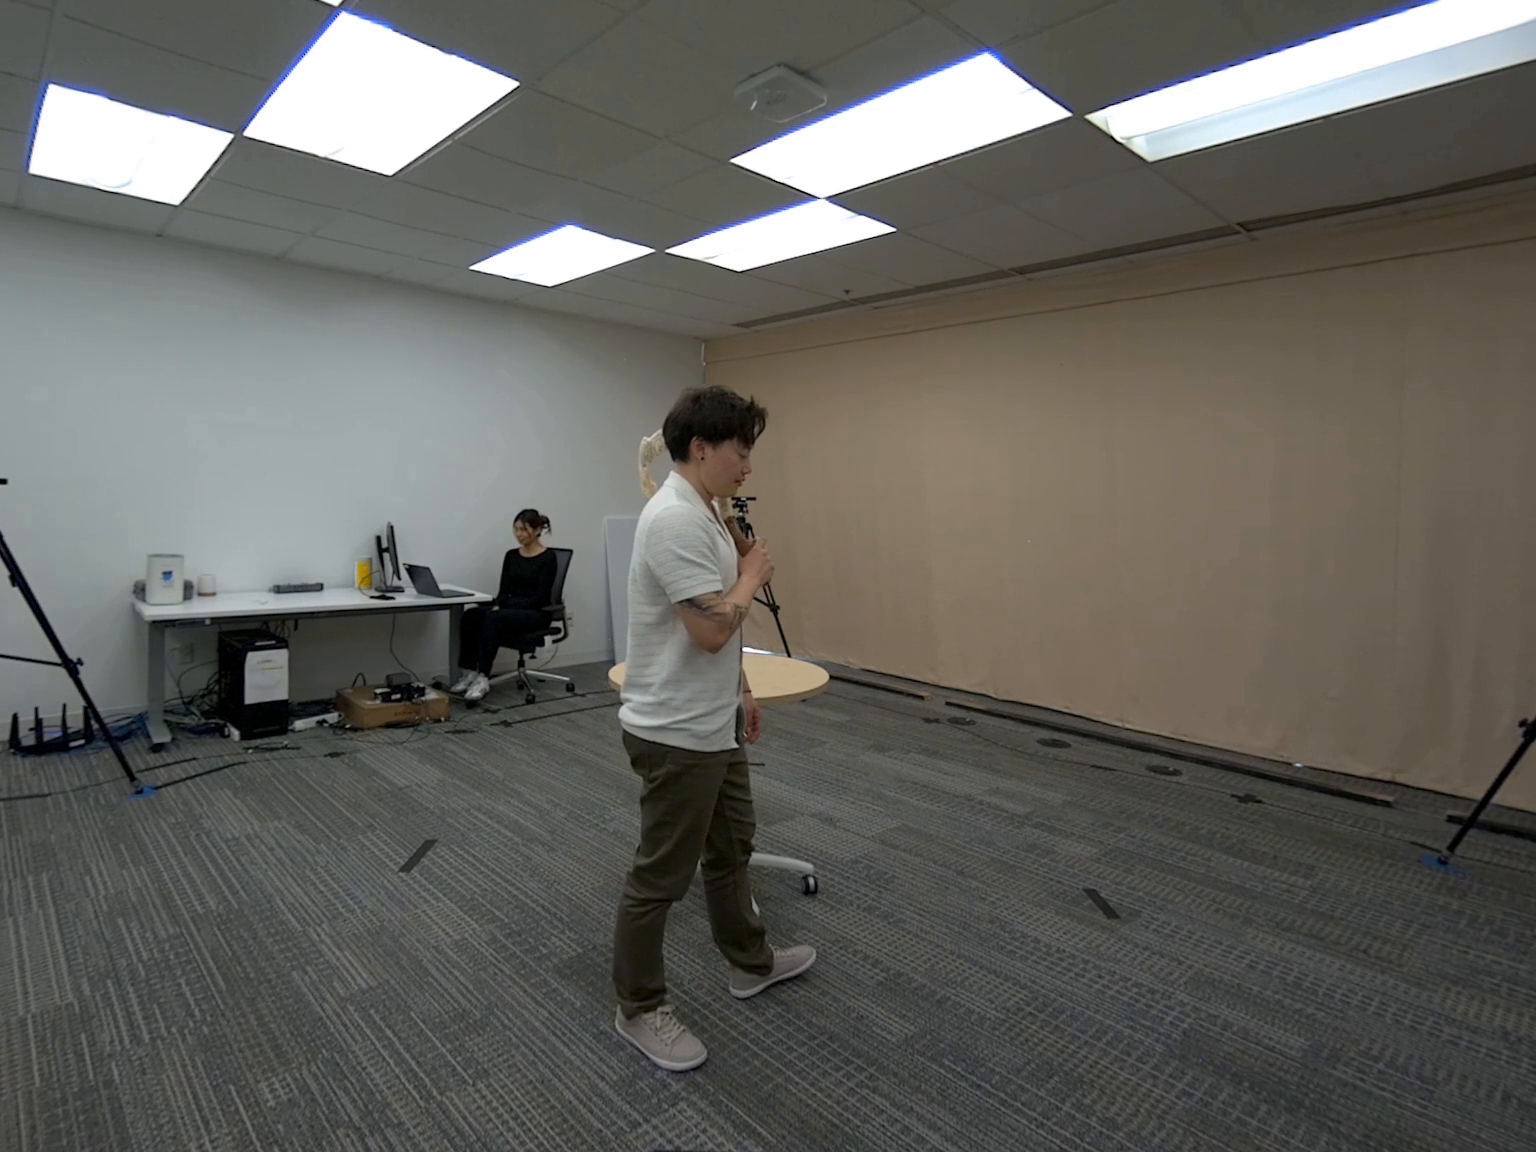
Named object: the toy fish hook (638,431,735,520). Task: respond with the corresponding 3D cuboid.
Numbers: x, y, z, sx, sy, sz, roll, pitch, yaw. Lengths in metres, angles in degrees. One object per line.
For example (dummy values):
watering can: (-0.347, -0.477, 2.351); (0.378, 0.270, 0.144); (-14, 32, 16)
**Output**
toy fish hook: (-0.174, -0.167, 2.199); (0.225, 0.513, 0.048); (-30, -12, 1)
